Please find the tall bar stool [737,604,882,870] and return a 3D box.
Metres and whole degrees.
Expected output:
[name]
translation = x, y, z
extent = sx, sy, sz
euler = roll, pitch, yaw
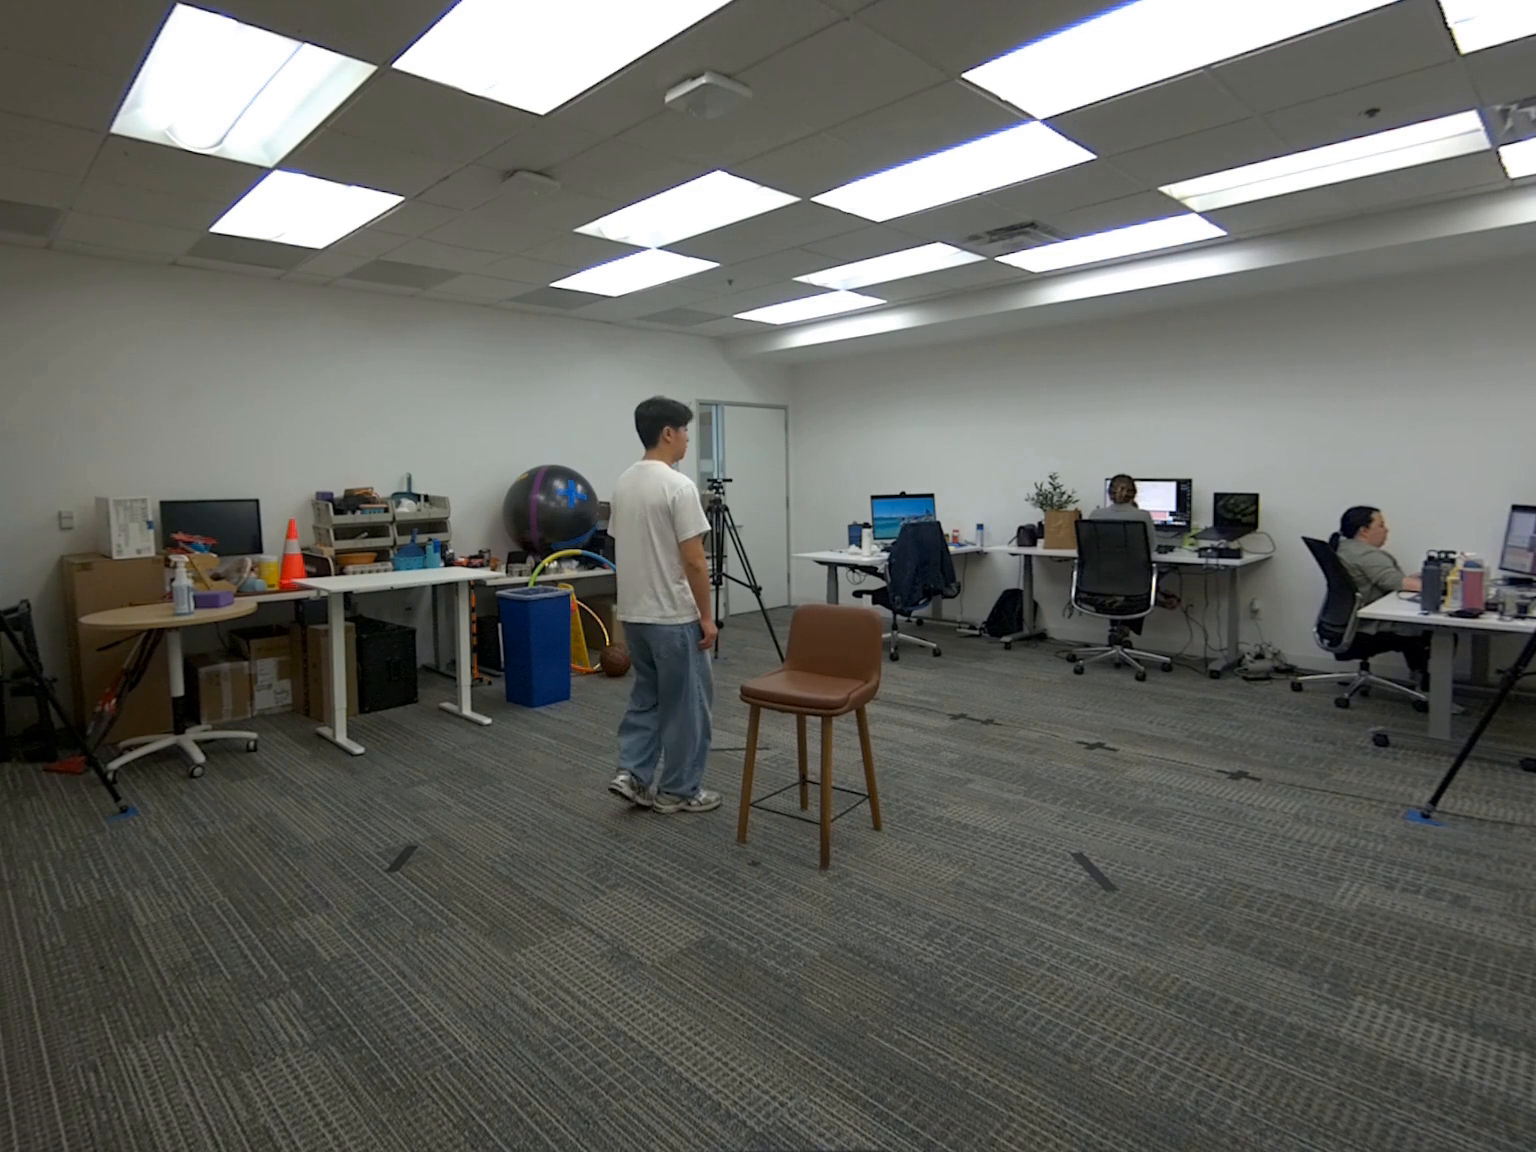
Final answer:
[tall bar stool]
translation = 0.174, 0.581, 3.313
extent = 0.470, 0.888, 0.455
euler = 3, 3, 37
